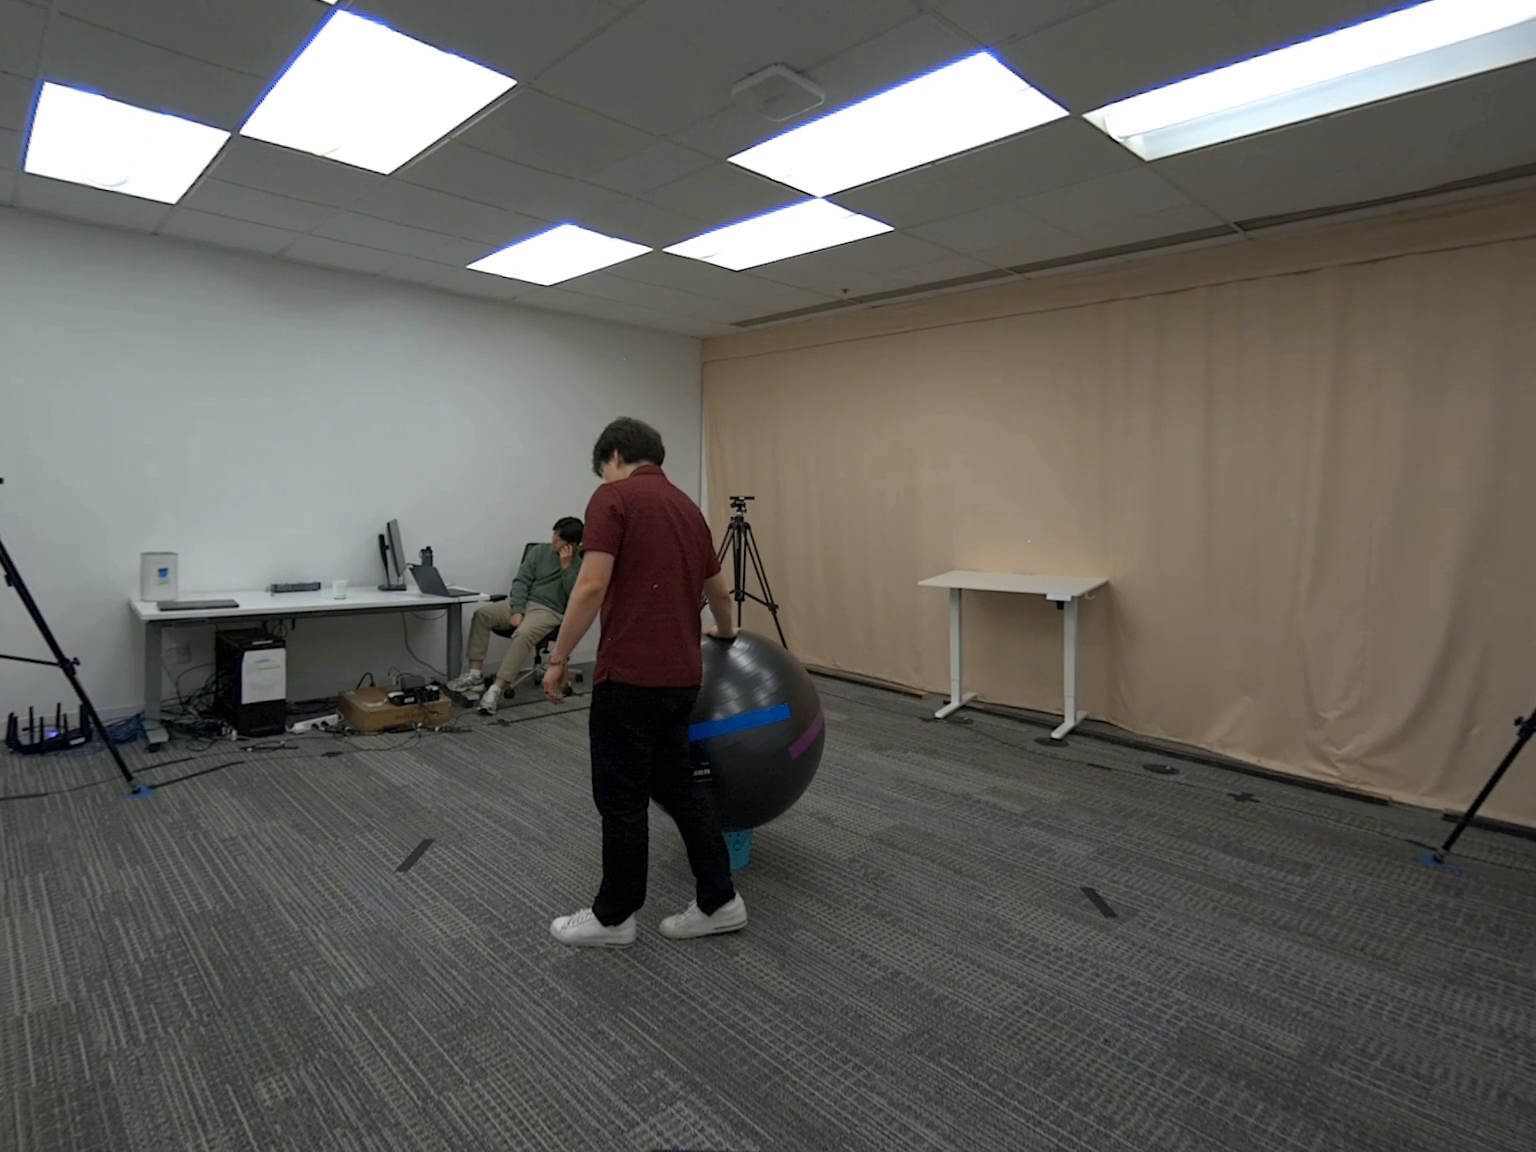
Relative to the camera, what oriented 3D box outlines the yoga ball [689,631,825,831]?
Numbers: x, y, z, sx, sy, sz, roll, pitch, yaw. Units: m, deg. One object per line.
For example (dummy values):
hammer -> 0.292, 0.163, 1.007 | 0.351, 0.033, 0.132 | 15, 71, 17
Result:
yoga ball -> -0.170, 0.584, 3.205 | 0.757, 0.756, 0.761 | 1, 4, -1
